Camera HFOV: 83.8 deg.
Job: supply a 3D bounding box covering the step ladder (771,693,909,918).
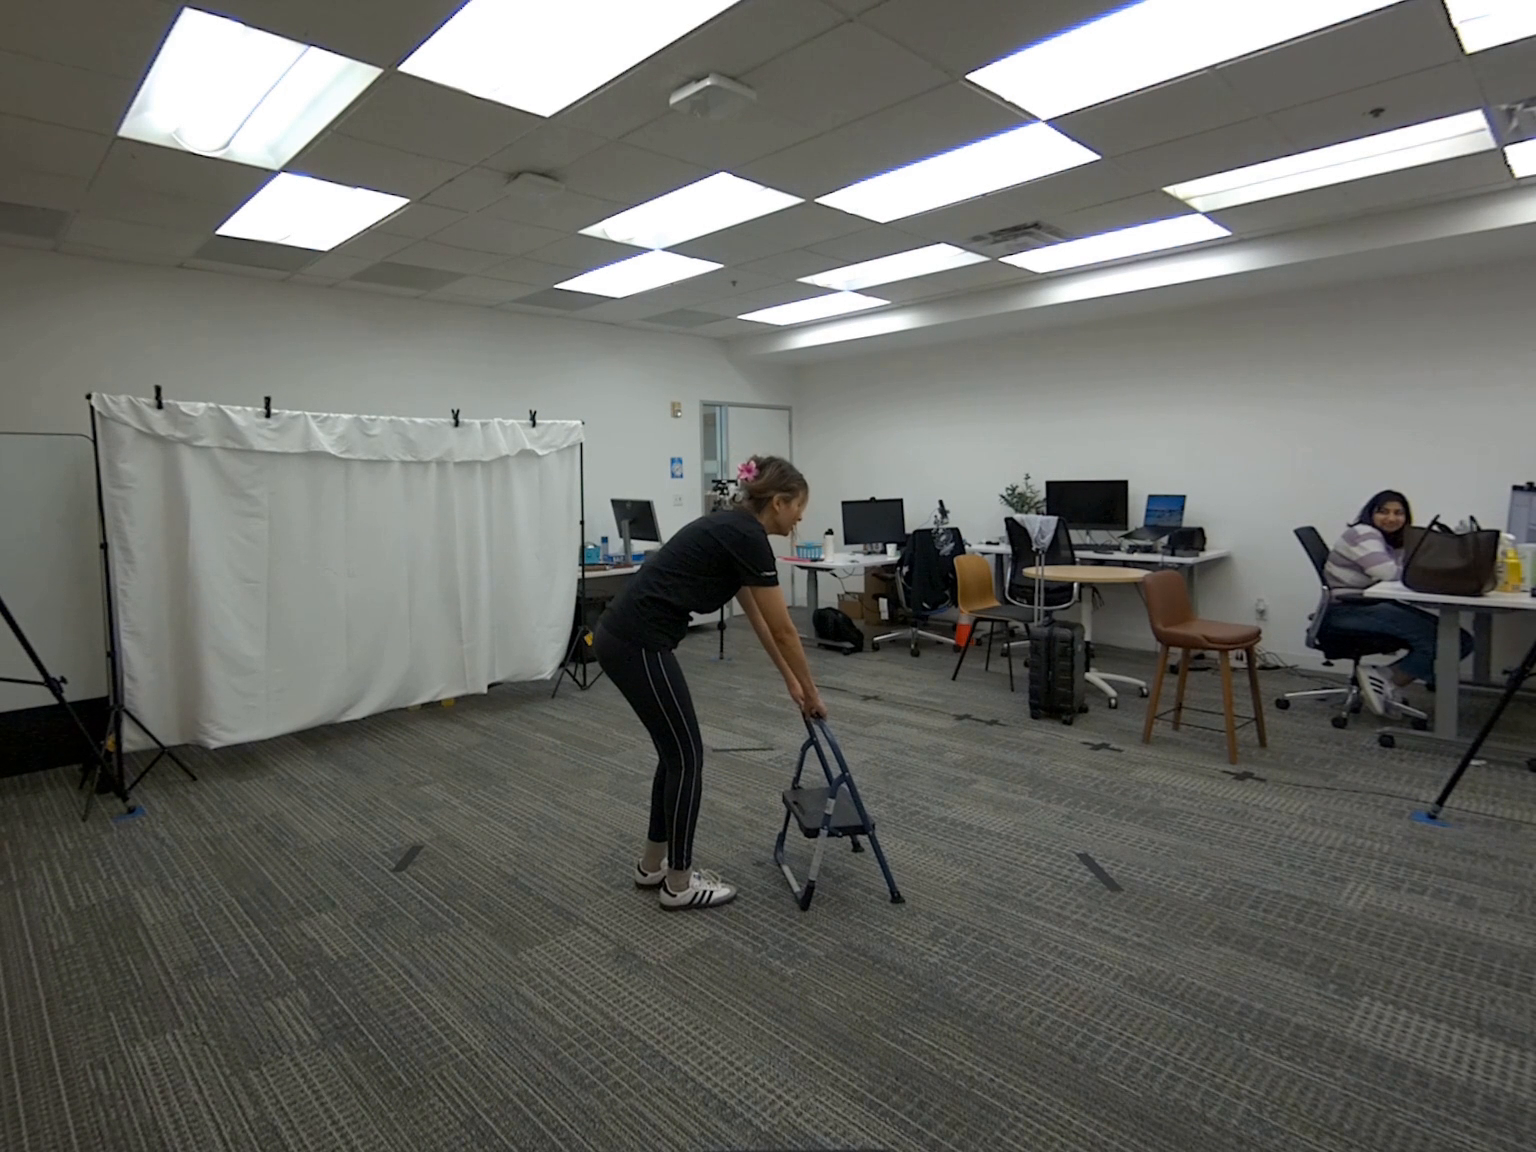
[{"bbox_3d":[0.233,0.765,2.973,0.346,0.604,0.437,-1,4,-12],"label":"step ladder"}]
